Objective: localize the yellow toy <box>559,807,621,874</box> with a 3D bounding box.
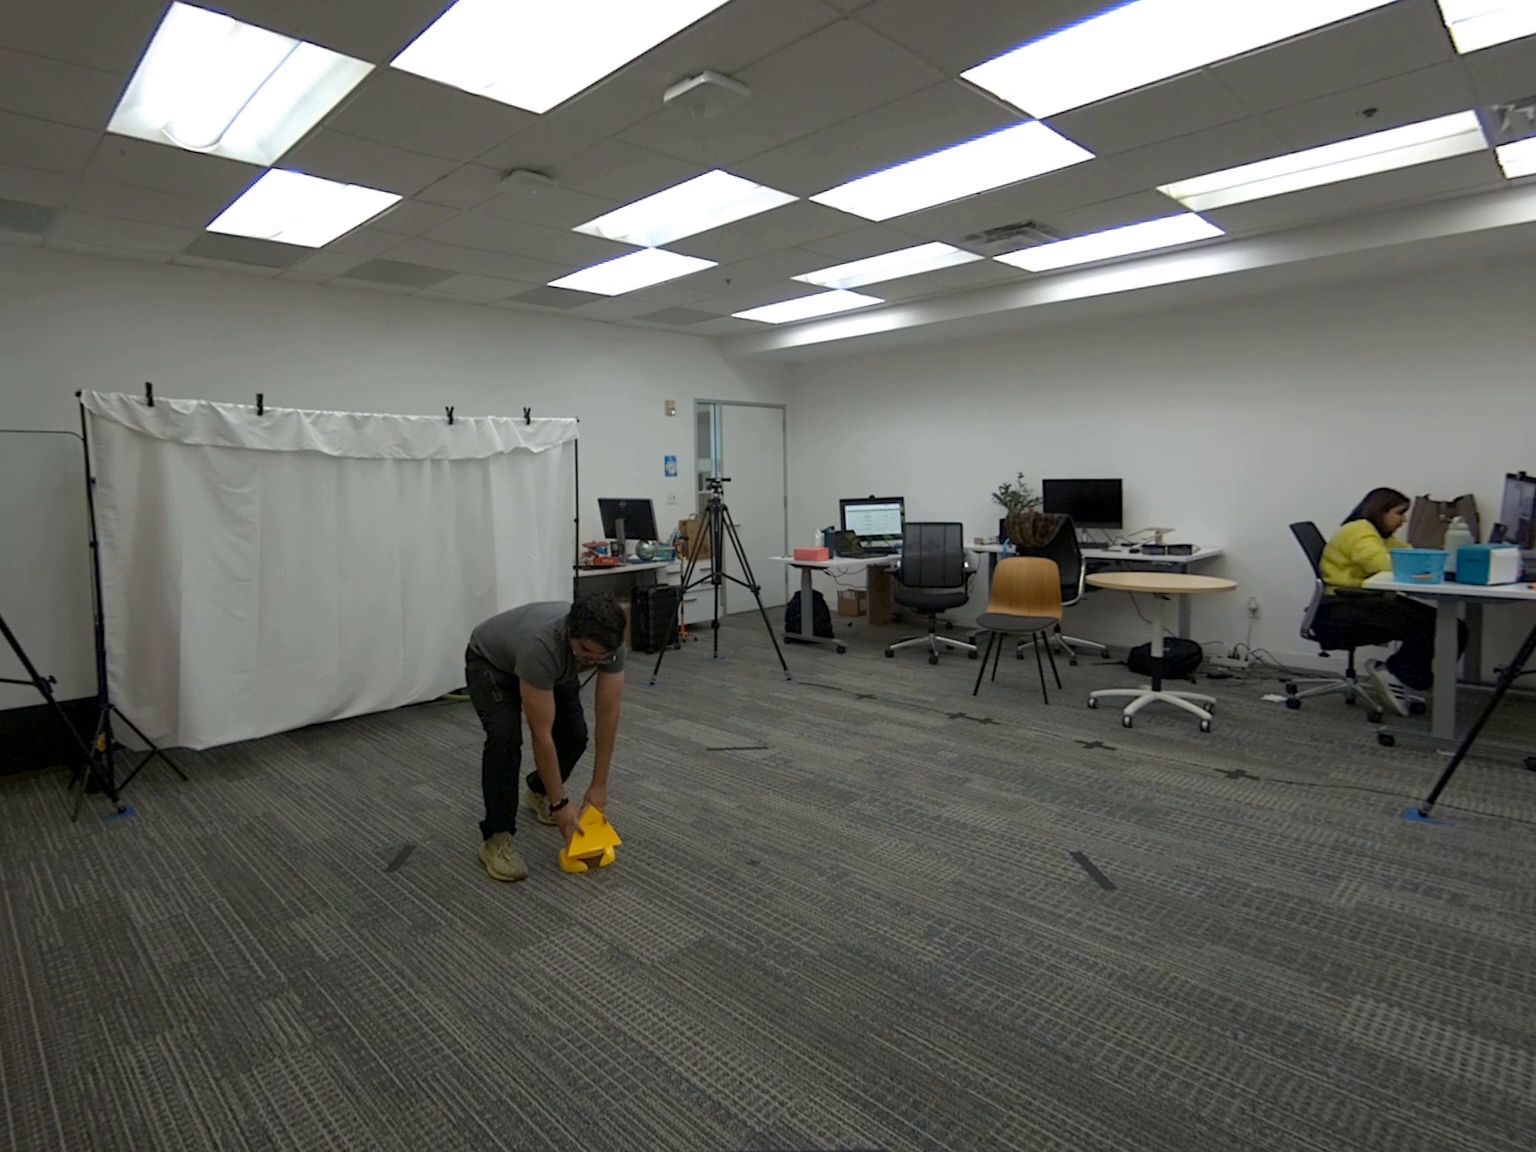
[{"bbox_3d":[-0.669,0.935,3.132,0.200,0.229,0.198,-4,6,-30],"label":"yellow toy"}]
